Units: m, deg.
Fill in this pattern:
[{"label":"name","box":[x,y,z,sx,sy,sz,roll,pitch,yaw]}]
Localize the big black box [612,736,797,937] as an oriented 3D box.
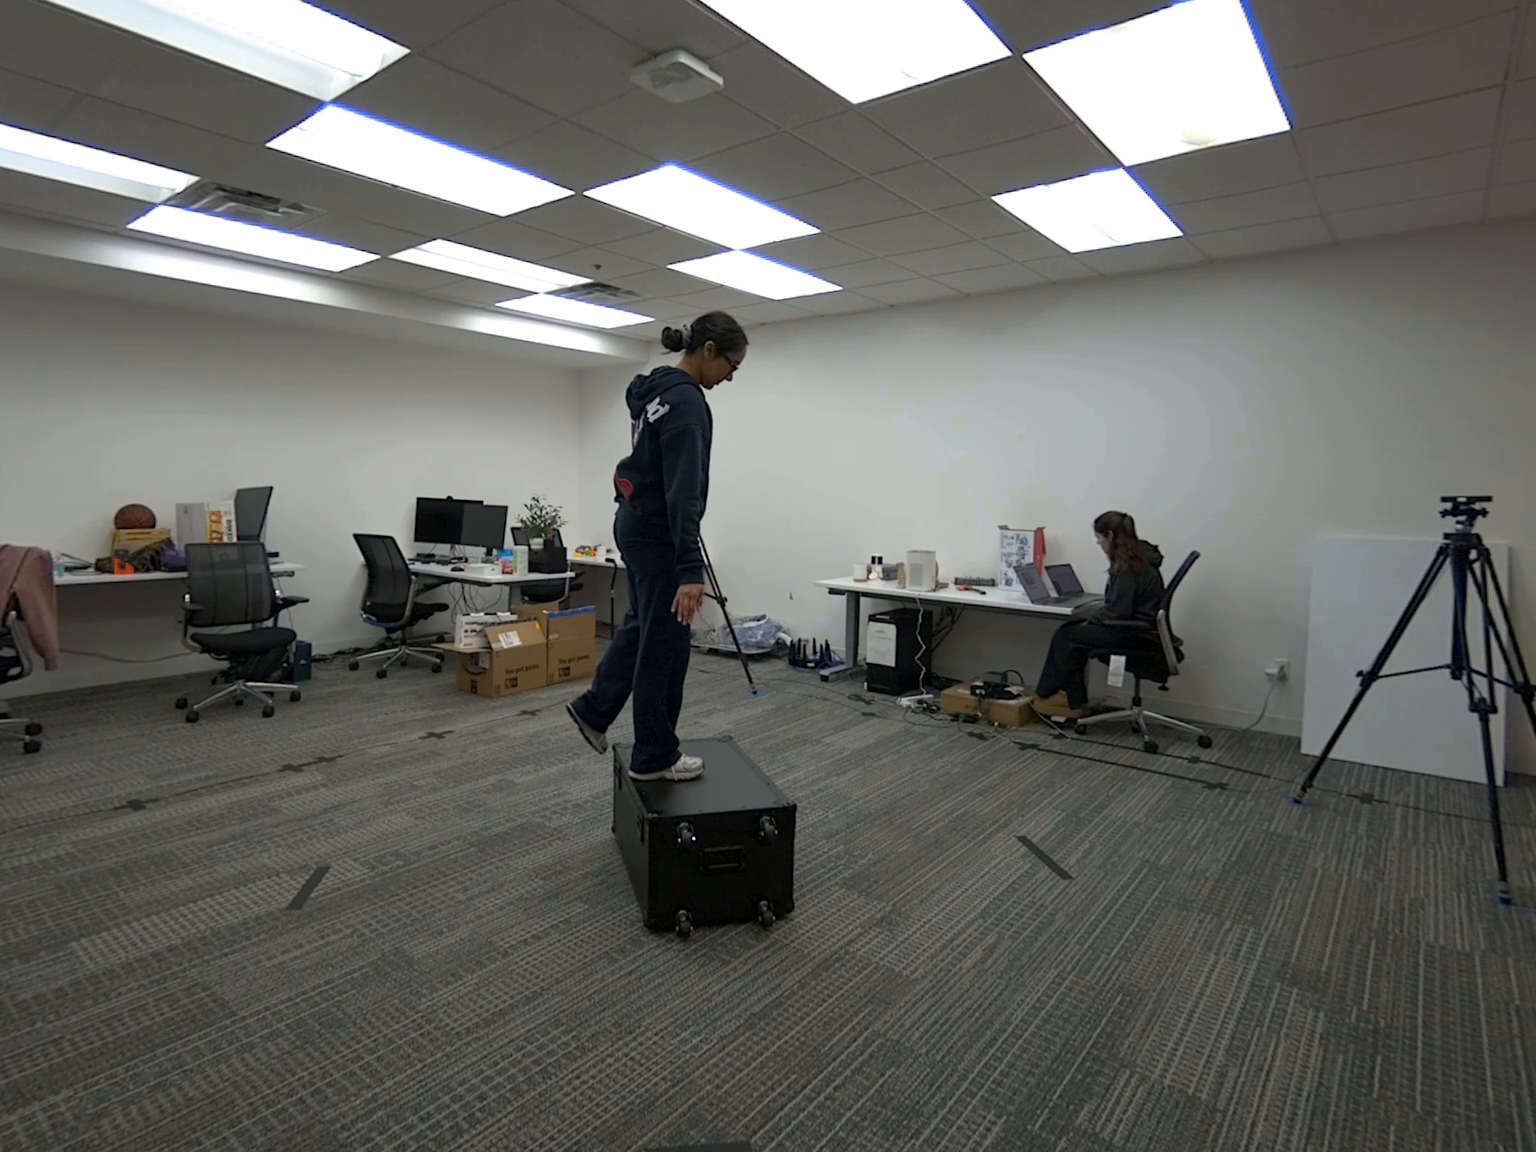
[{"label":"big black box","box":[-0.262,0.885,3.015,0.512,0.395,0.880,-1,5,-18]}]
